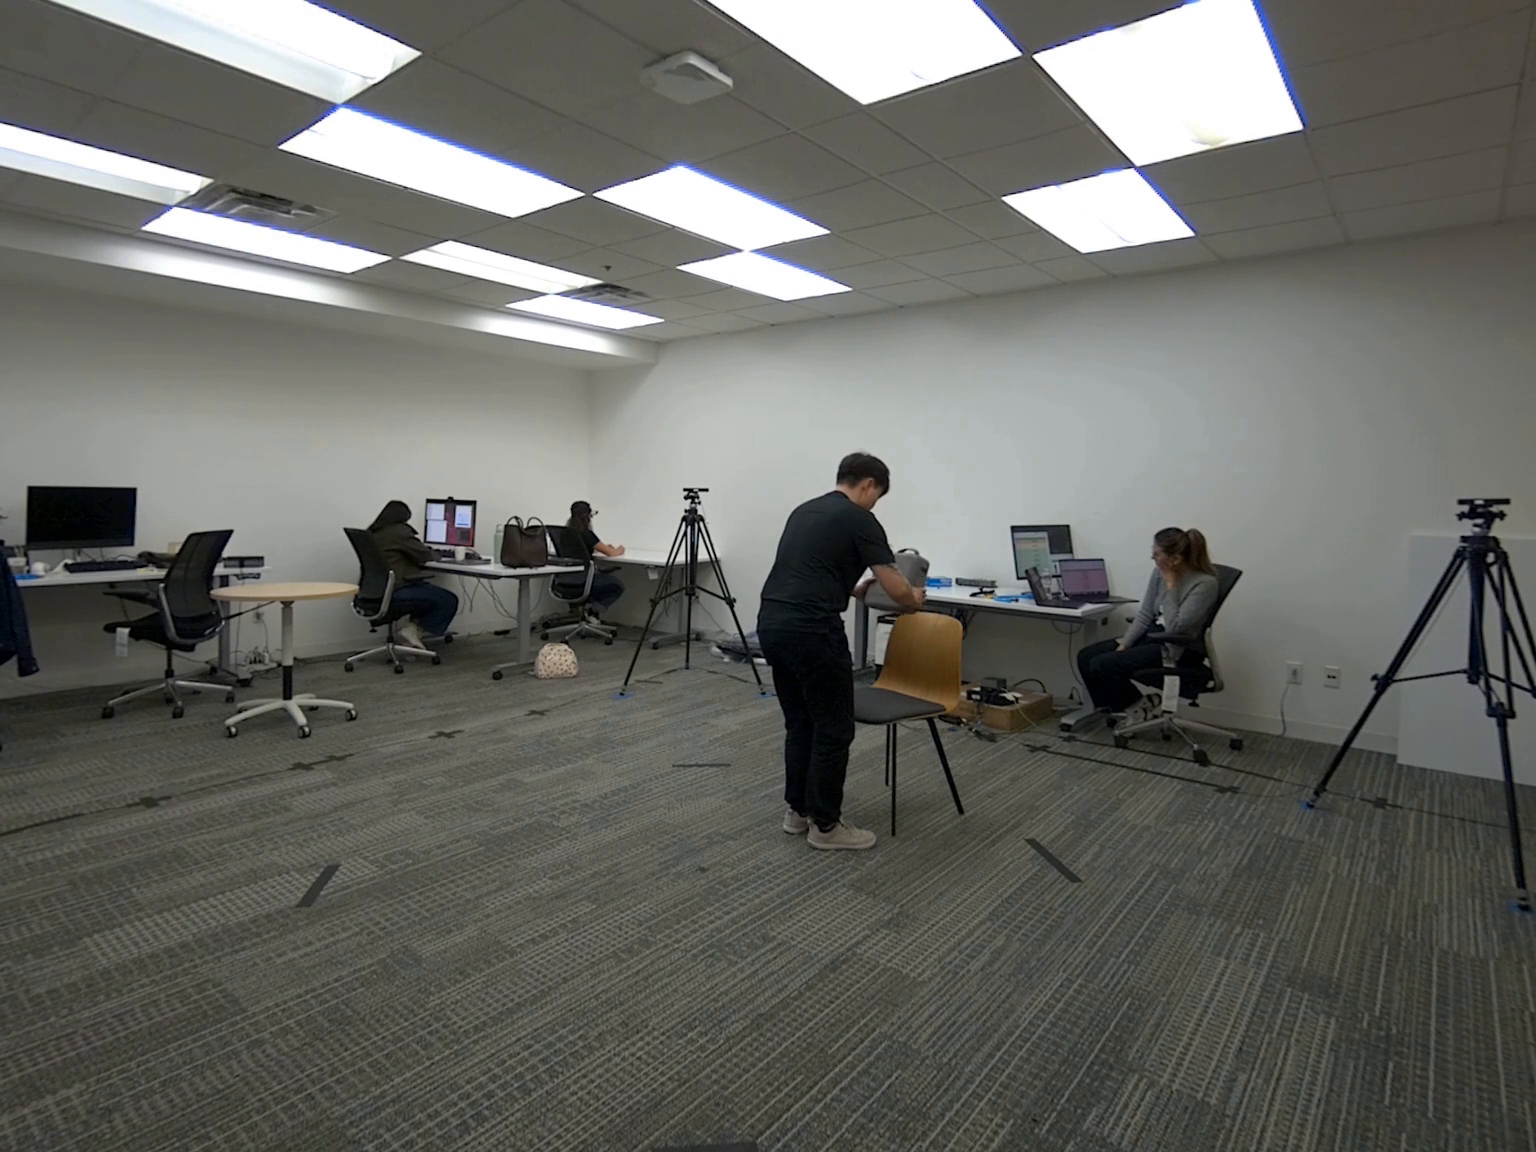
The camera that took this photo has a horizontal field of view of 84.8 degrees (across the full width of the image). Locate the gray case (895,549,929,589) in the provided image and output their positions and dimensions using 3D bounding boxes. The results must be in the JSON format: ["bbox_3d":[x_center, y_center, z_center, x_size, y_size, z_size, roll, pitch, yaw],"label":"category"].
[{"bbox_3d":[0.544,0.032,3.659,0.101,0.262,0.264,24,-10,-30],"label":"gray case"}]
